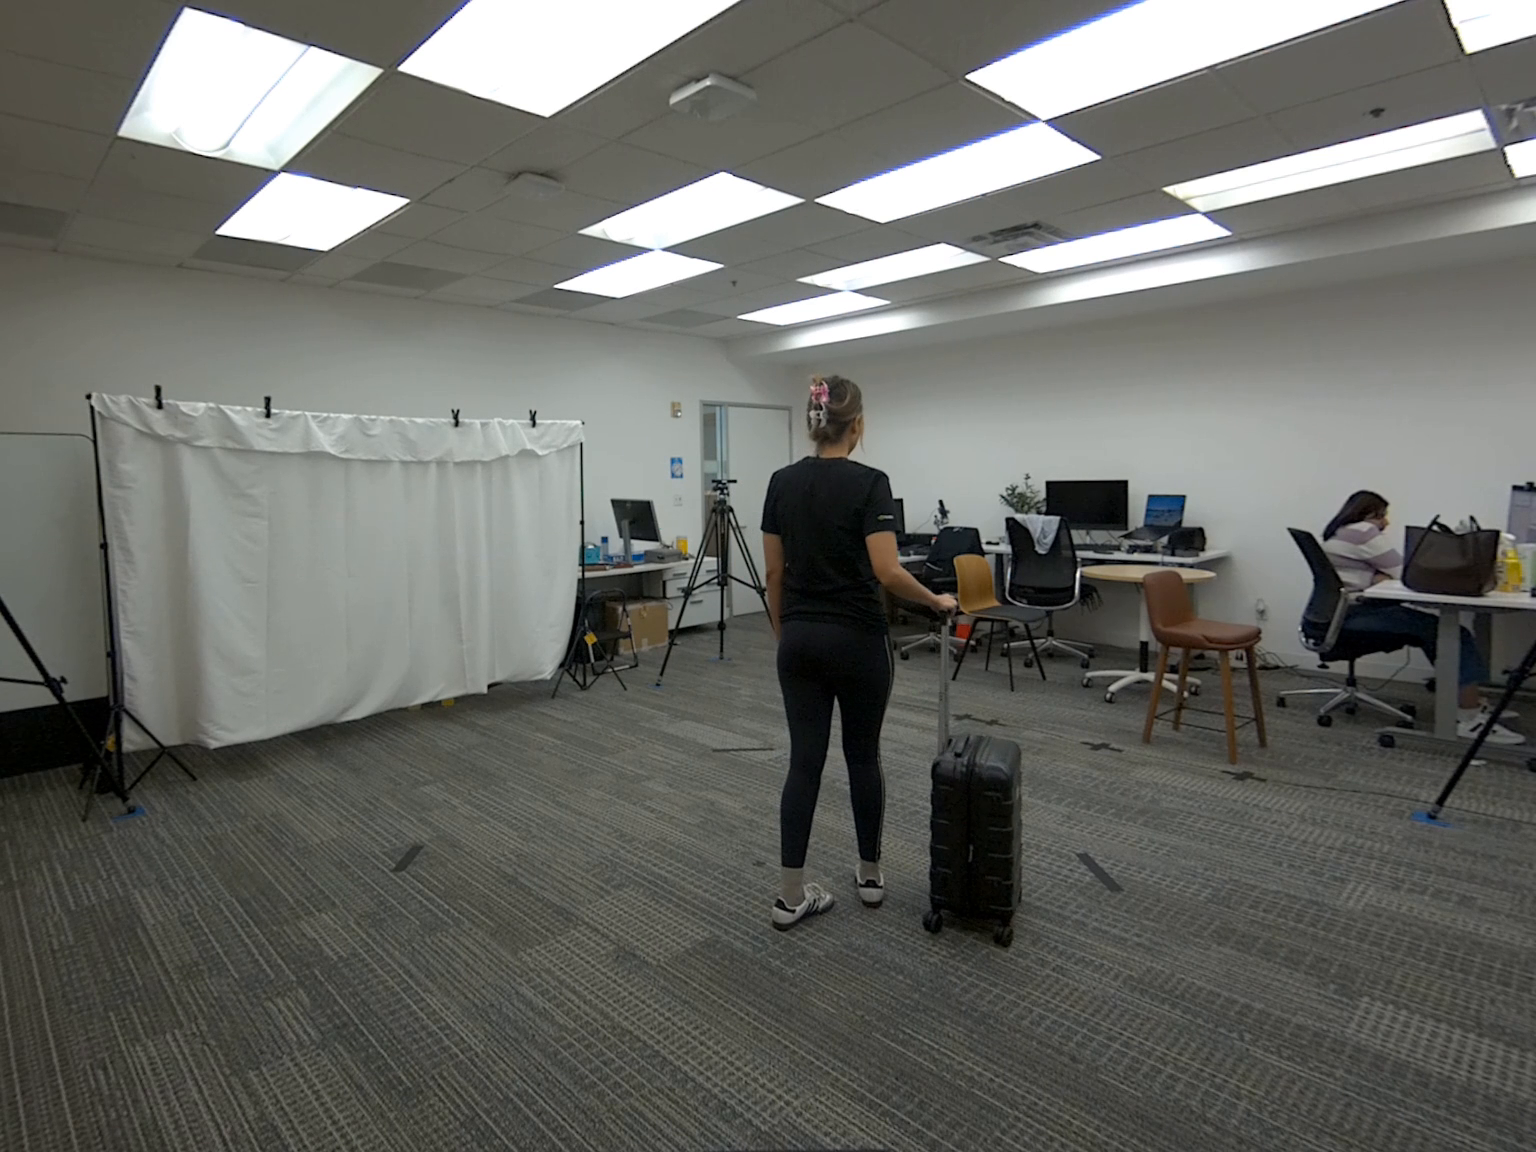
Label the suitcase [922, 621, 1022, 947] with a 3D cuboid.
[{"bbox_3d":[0.682,0.603,2.707,0.262,0.976,0.377,3,4,20],"label":"suitcase"}]
